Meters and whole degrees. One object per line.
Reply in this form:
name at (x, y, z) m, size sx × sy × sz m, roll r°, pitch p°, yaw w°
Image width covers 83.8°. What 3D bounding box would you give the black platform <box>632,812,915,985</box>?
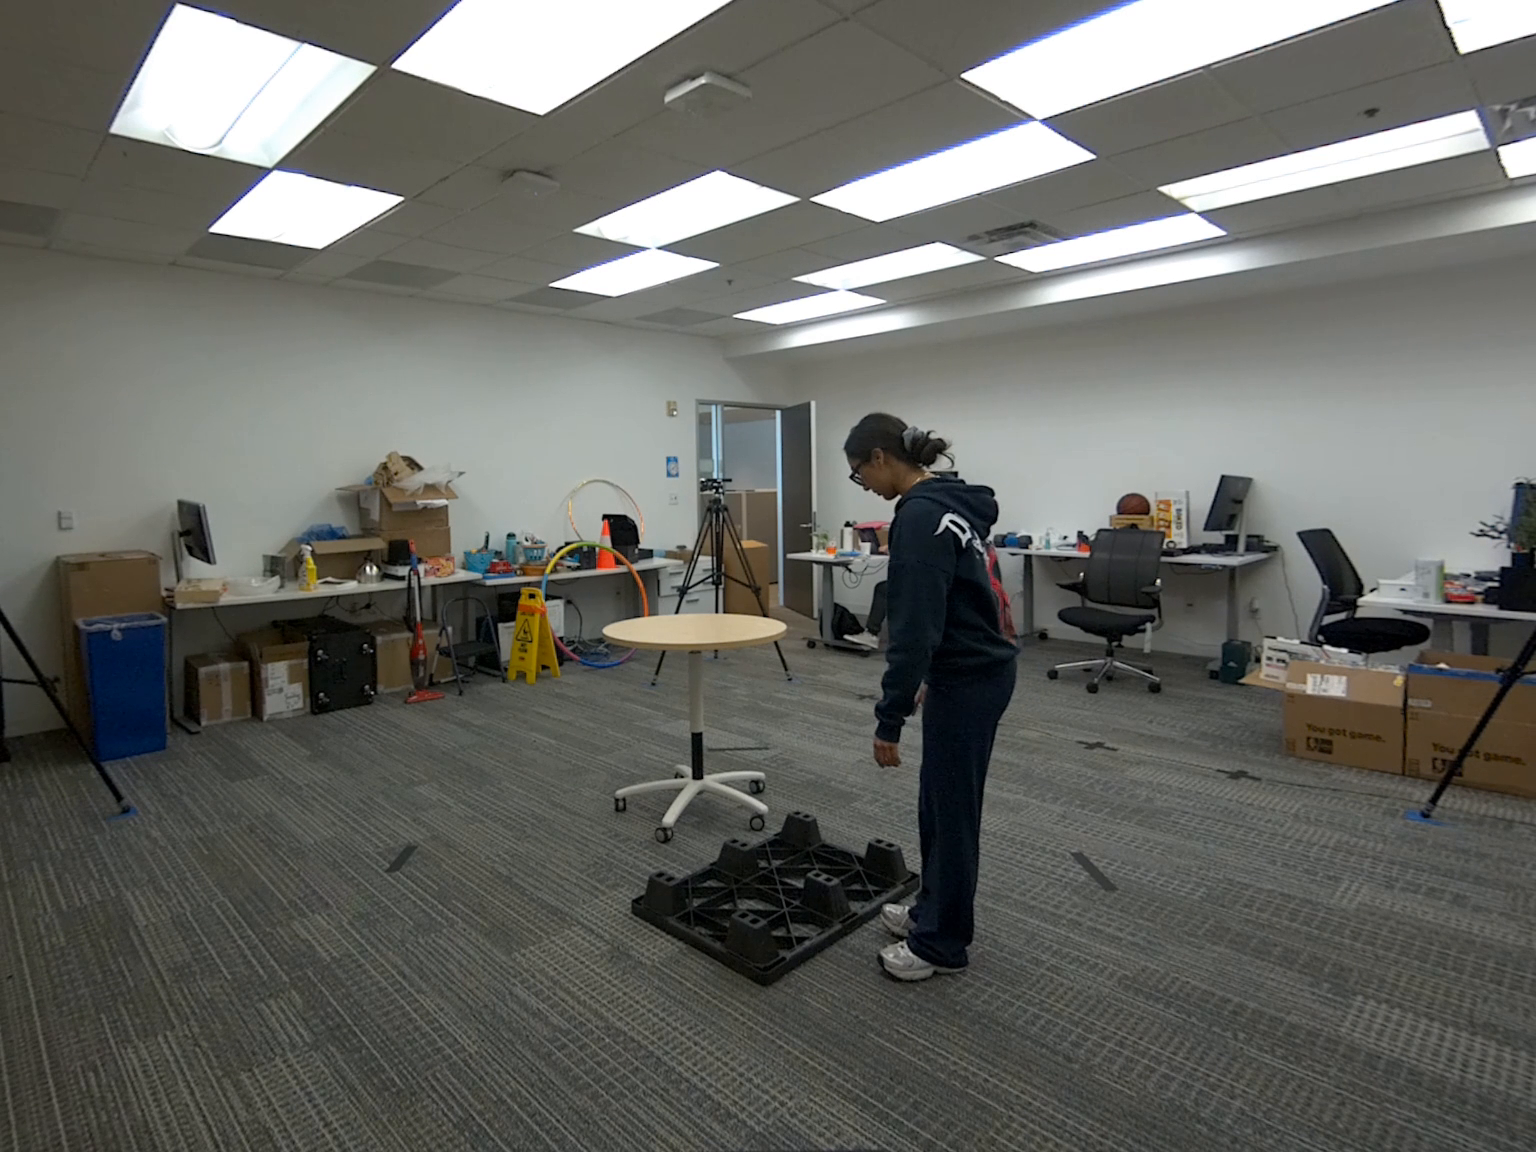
black platform at (0.038, 1.008, 2.839) m, size 0.624 × 0.142 × 0.785 m, roll 5°, pitch 9°, yaw 43°
